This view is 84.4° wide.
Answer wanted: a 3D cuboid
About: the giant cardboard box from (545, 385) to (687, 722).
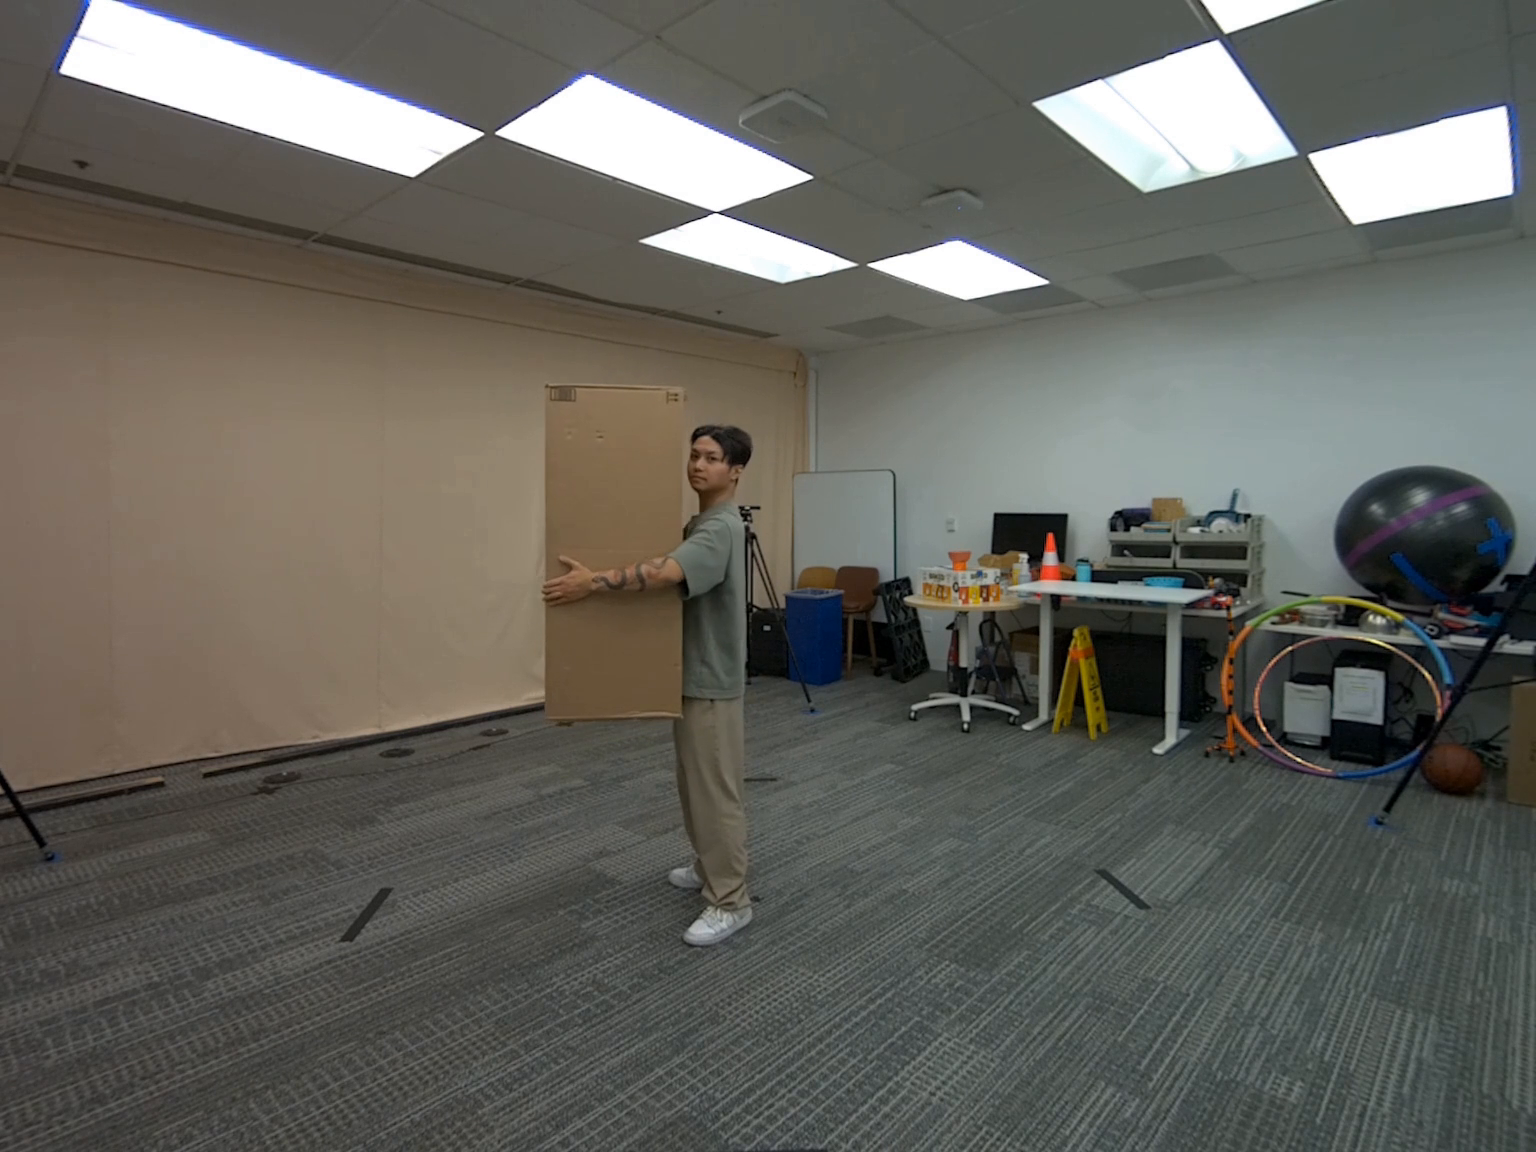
[{"bbox_3d":[-0.523,-0.091,2.842,0.422,1.024,0.584,1,3,-10],"label":"giant cardboard box"}]
